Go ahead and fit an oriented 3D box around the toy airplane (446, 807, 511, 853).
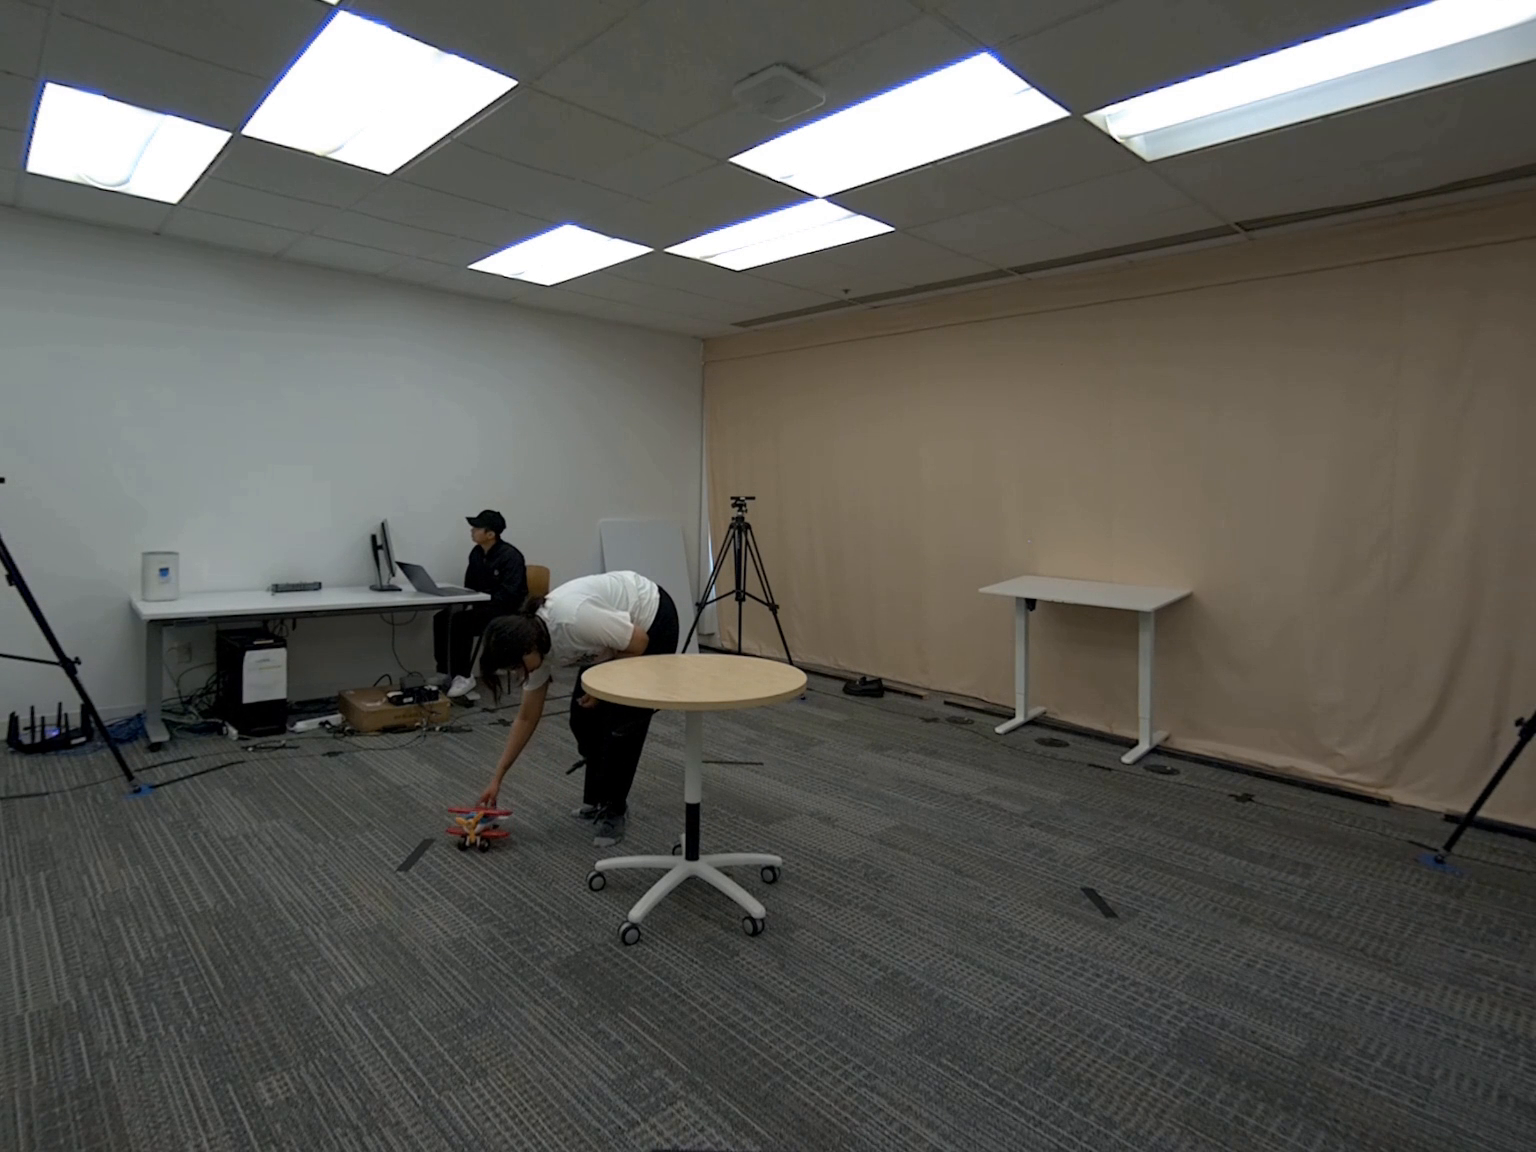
[{"bbox_3d":[-1.161,0.985,3.348,0.247,0.156,0.264,-2,7,-22],"label":"toy airplane"}]
